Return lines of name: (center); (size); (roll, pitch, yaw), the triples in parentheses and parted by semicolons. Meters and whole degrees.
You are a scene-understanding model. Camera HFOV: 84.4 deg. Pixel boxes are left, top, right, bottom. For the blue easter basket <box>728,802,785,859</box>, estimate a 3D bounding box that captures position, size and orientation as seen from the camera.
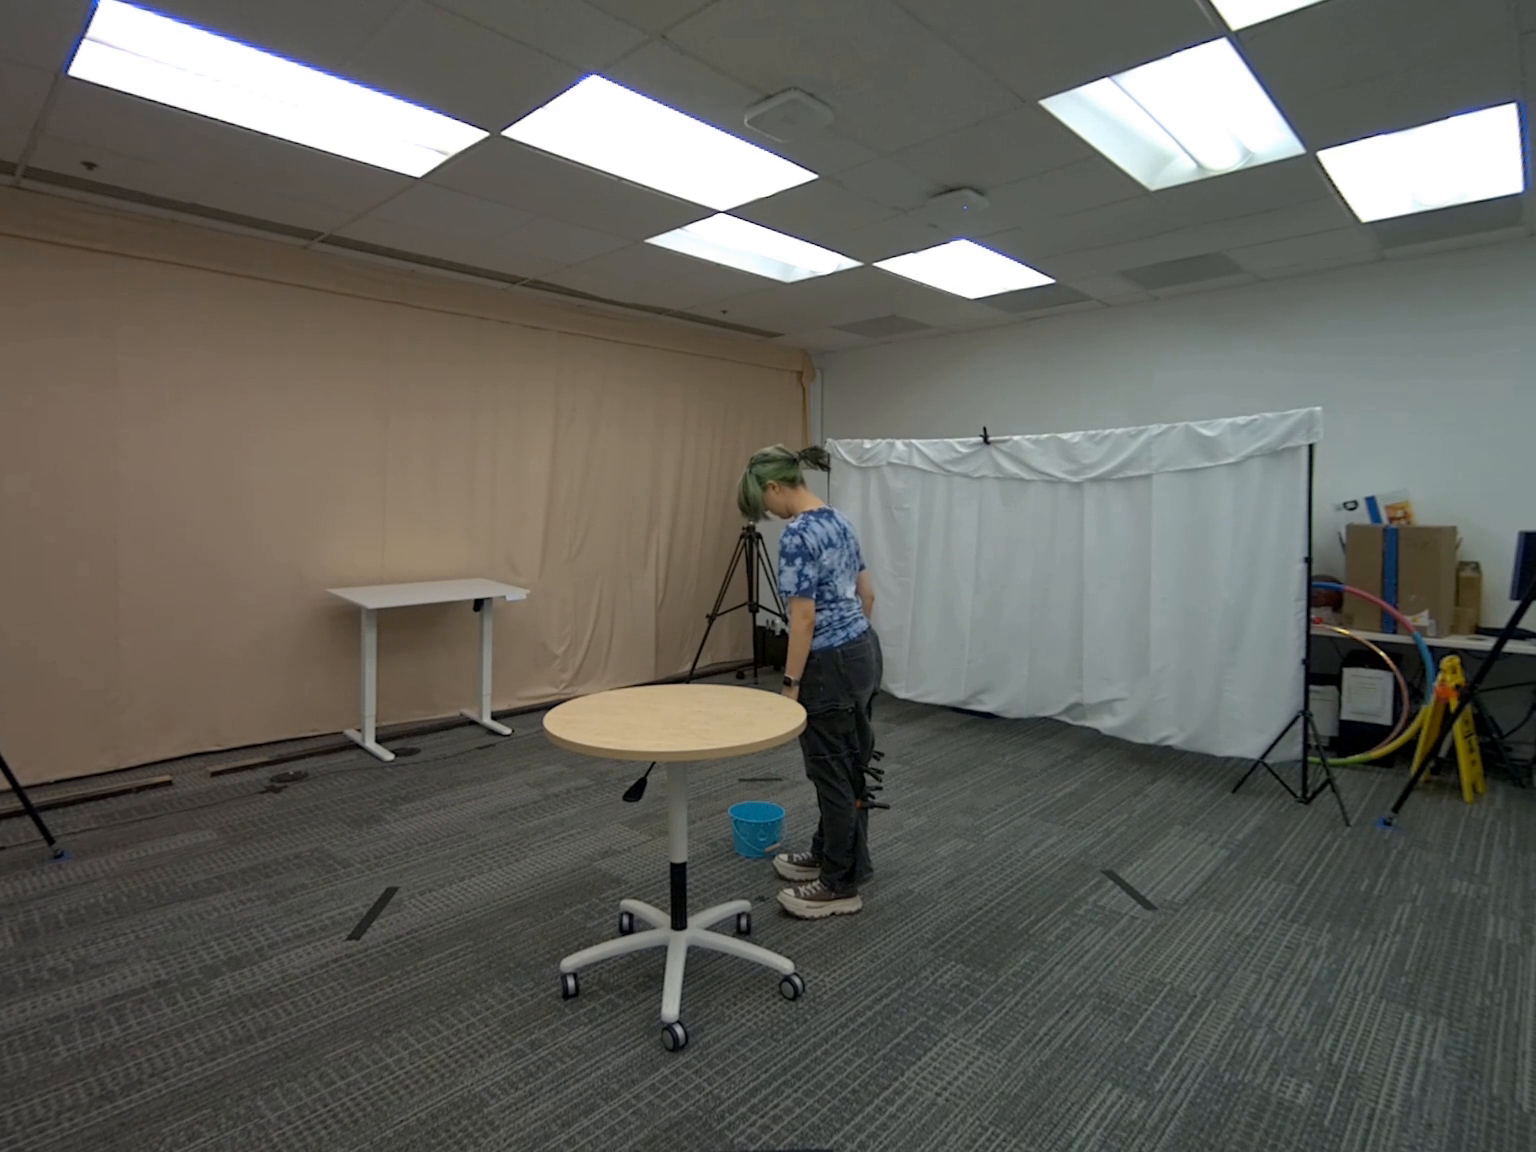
blue easter basket: (-0.046, 1.028, 3.414); (0.243, 0.155, 0.244); (0, 4, -2)
